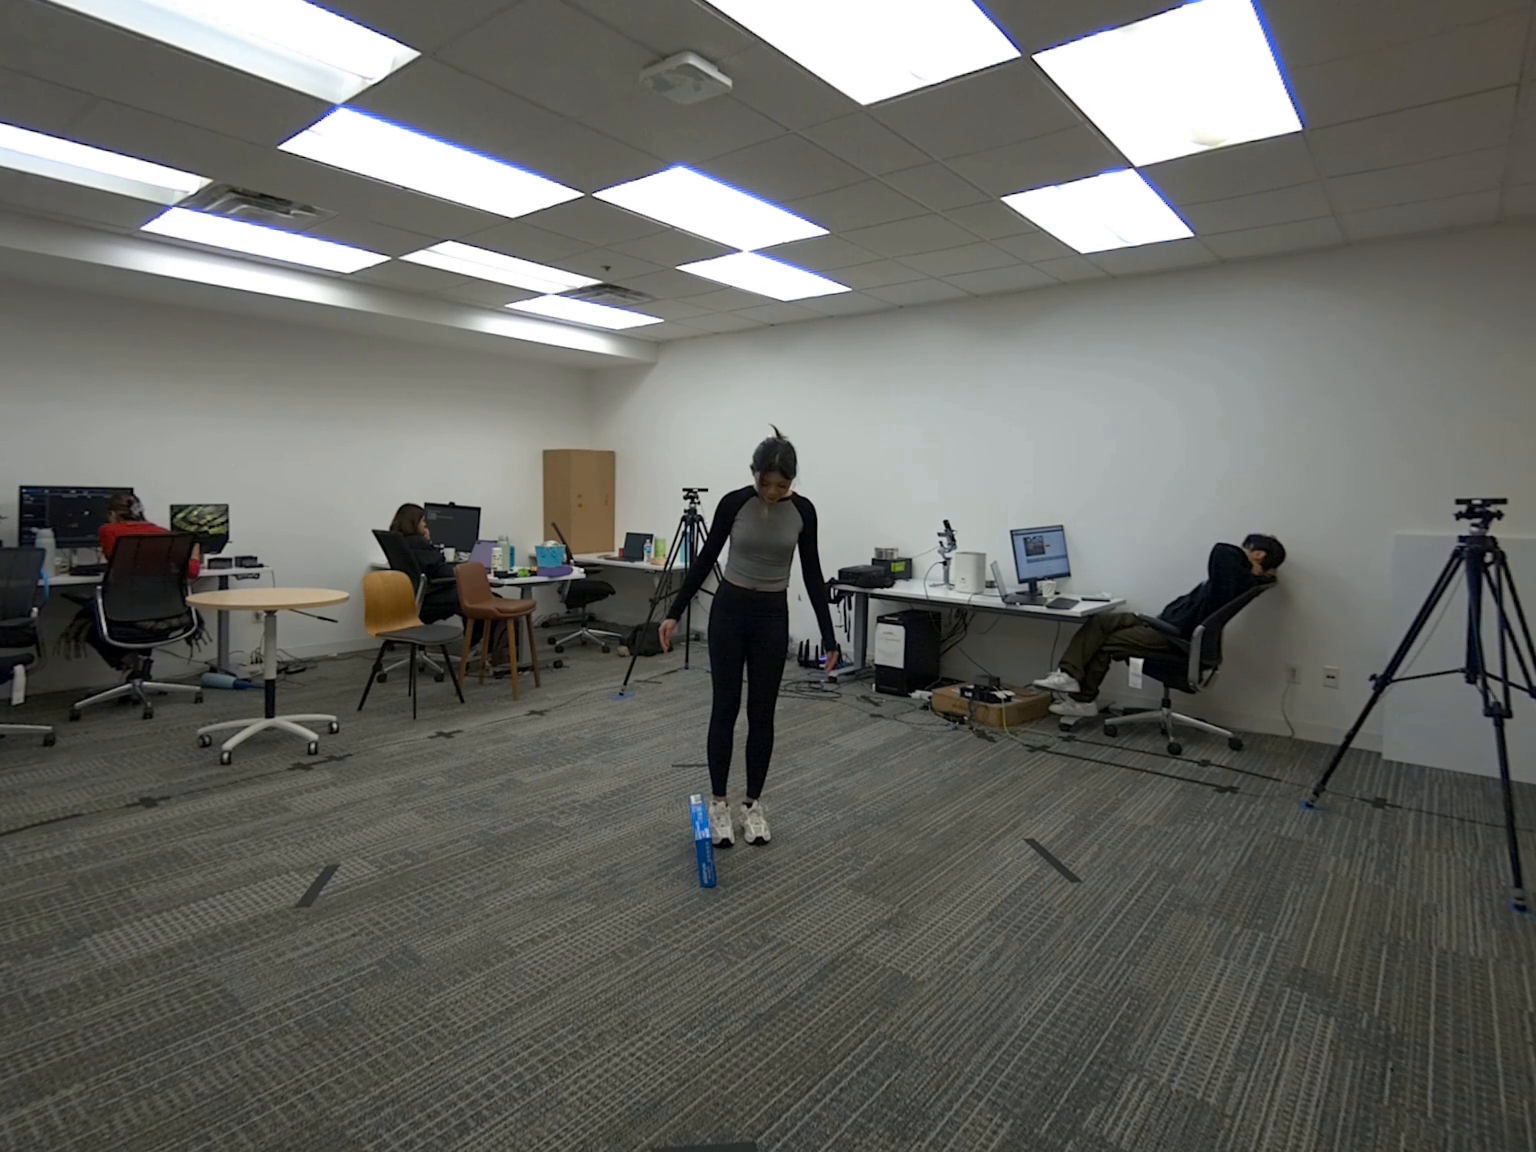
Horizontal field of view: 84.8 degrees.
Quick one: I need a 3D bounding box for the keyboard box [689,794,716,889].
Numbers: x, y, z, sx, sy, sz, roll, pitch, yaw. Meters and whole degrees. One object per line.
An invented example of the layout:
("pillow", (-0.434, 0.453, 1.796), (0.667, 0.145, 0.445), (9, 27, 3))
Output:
("keyboard box", (-0.256, 0.970, 3.175), (0.059, 0.175, 0.442), (-5, 6, -8))
